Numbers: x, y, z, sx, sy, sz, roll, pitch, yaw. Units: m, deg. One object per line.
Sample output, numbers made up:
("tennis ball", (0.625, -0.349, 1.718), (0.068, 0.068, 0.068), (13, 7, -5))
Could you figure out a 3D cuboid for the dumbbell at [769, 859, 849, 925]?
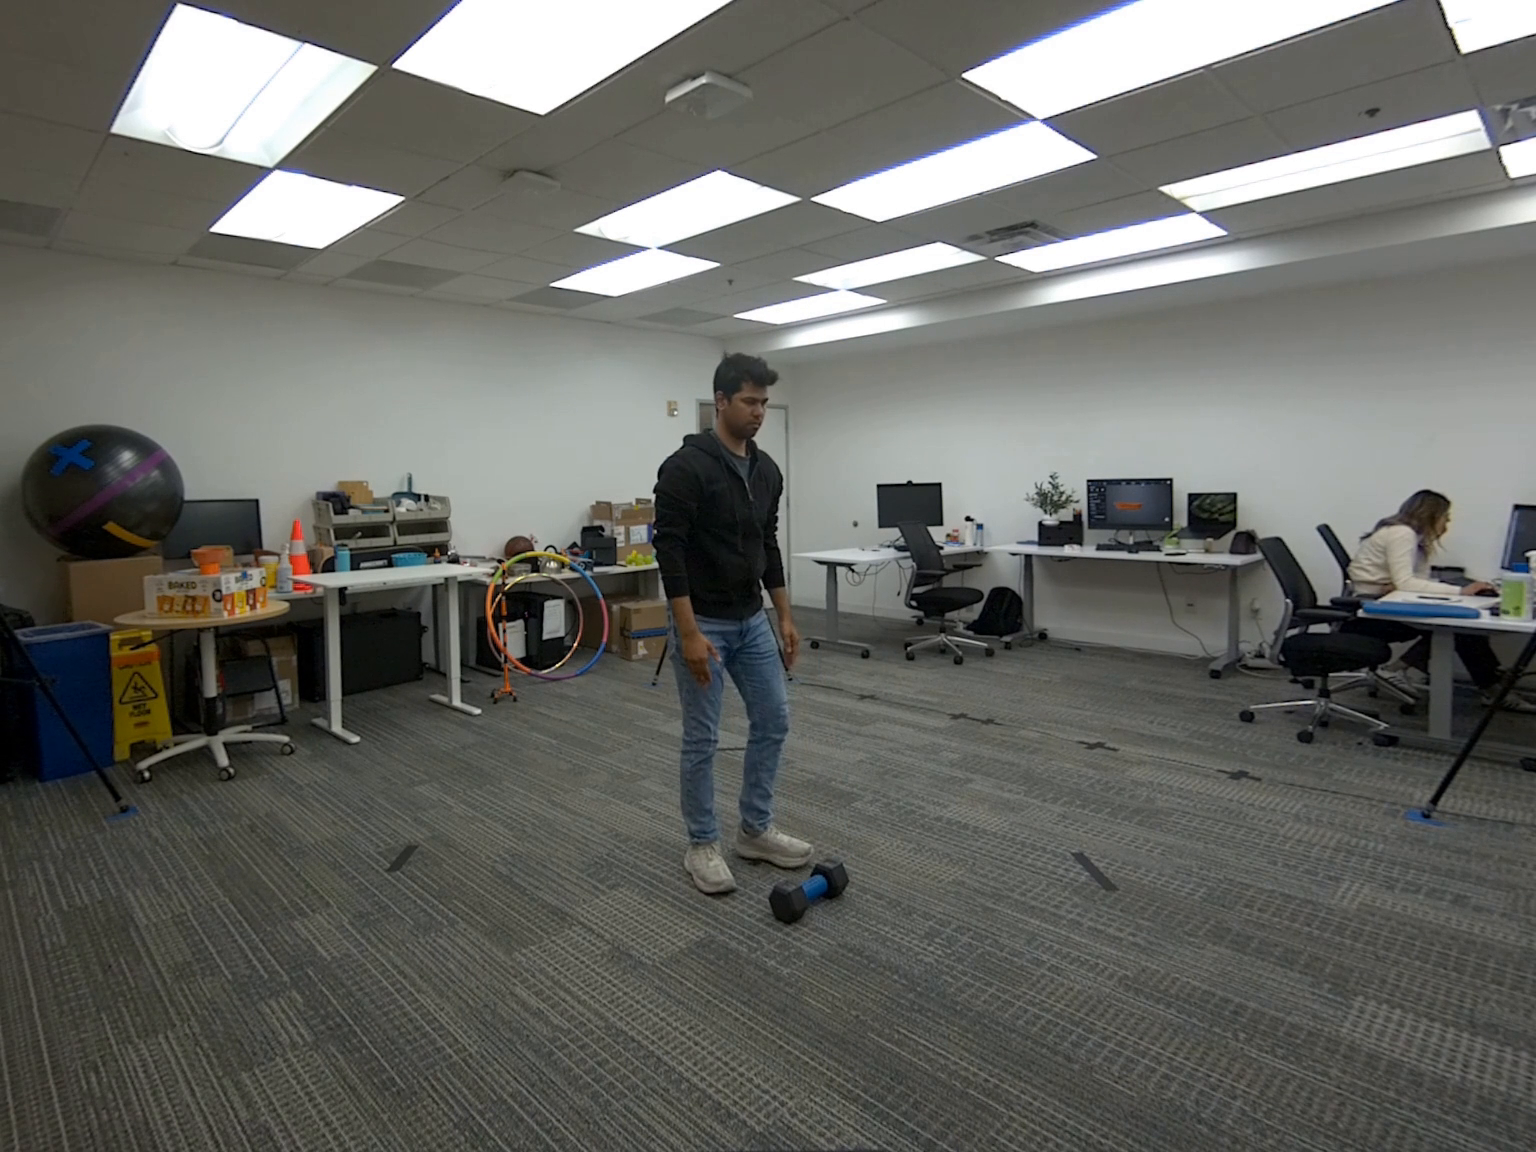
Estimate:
("dumbbell", (0.141, 1.023, 2.793), (0.286, 0.121, 0.113), (-8, 39, -46))
